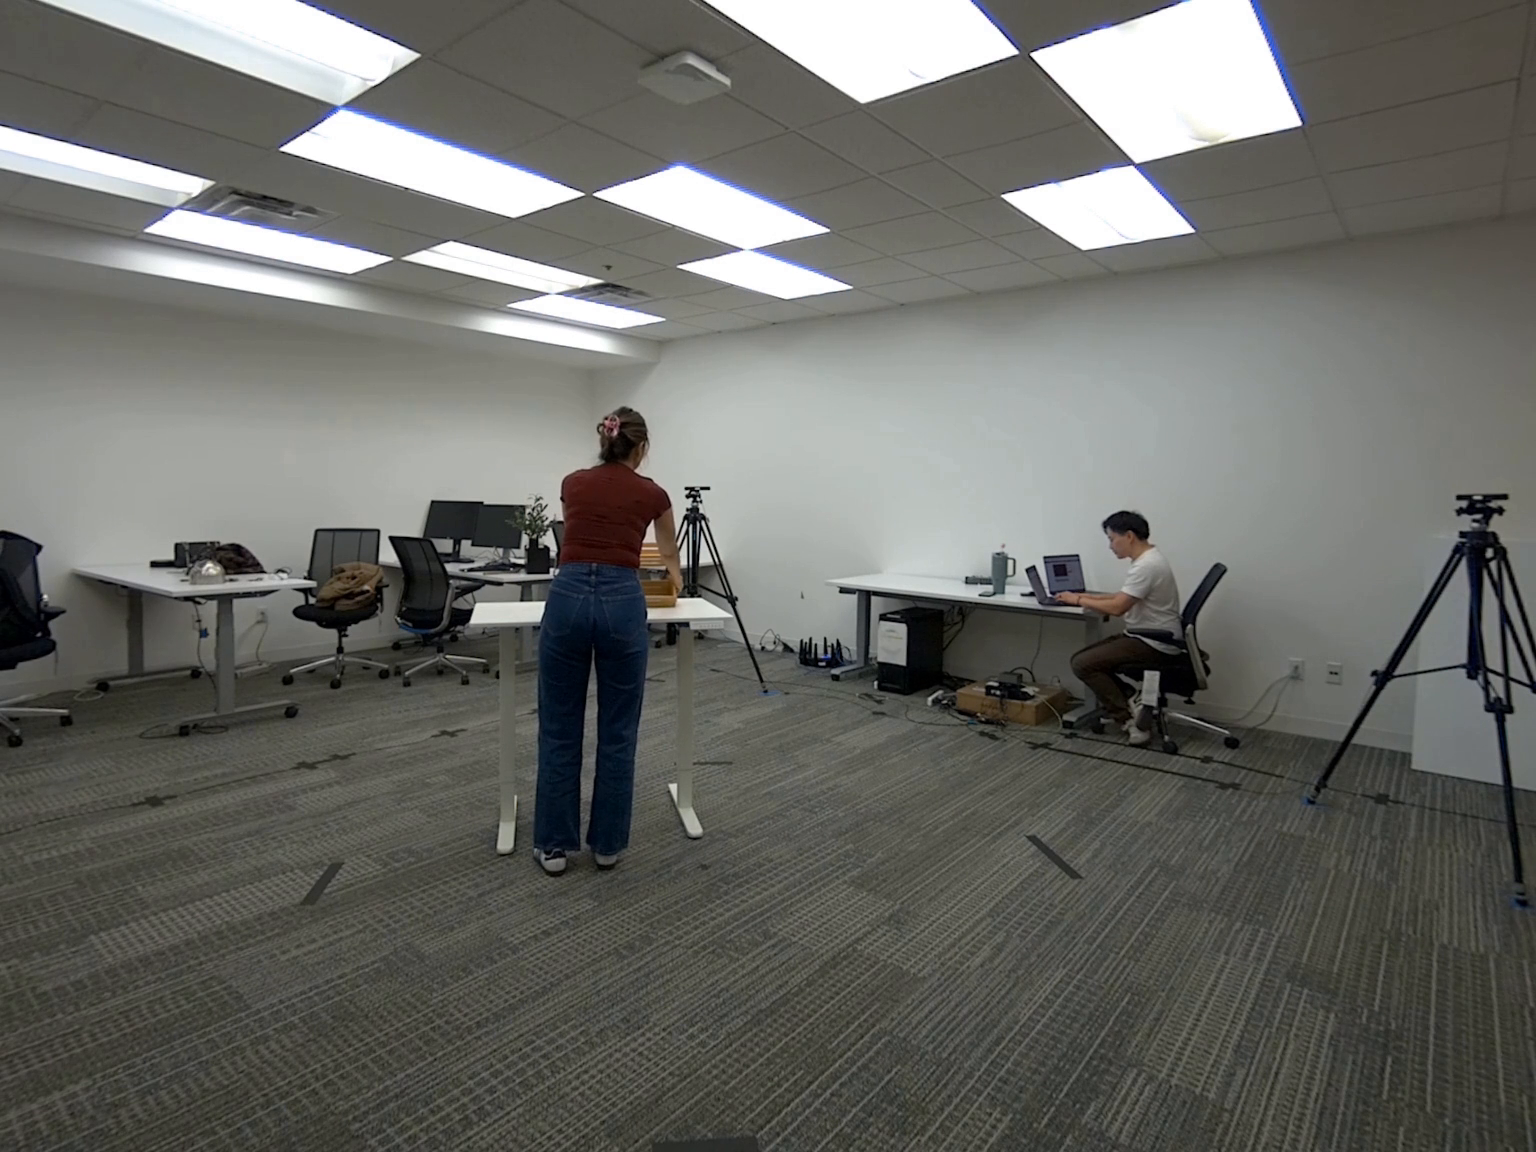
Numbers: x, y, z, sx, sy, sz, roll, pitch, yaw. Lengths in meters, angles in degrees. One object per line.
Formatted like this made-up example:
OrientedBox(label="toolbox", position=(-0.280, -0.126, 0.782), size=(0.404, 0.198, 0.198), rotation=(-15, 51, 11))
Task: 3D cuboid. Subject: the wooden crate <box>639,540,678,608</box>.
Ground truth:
OrientedBox(label="wooden crate", position=(-0.574, -0.014, 3.706), size=(0.322, 0.272, 0.305), rotation=(0, 4, -9))
